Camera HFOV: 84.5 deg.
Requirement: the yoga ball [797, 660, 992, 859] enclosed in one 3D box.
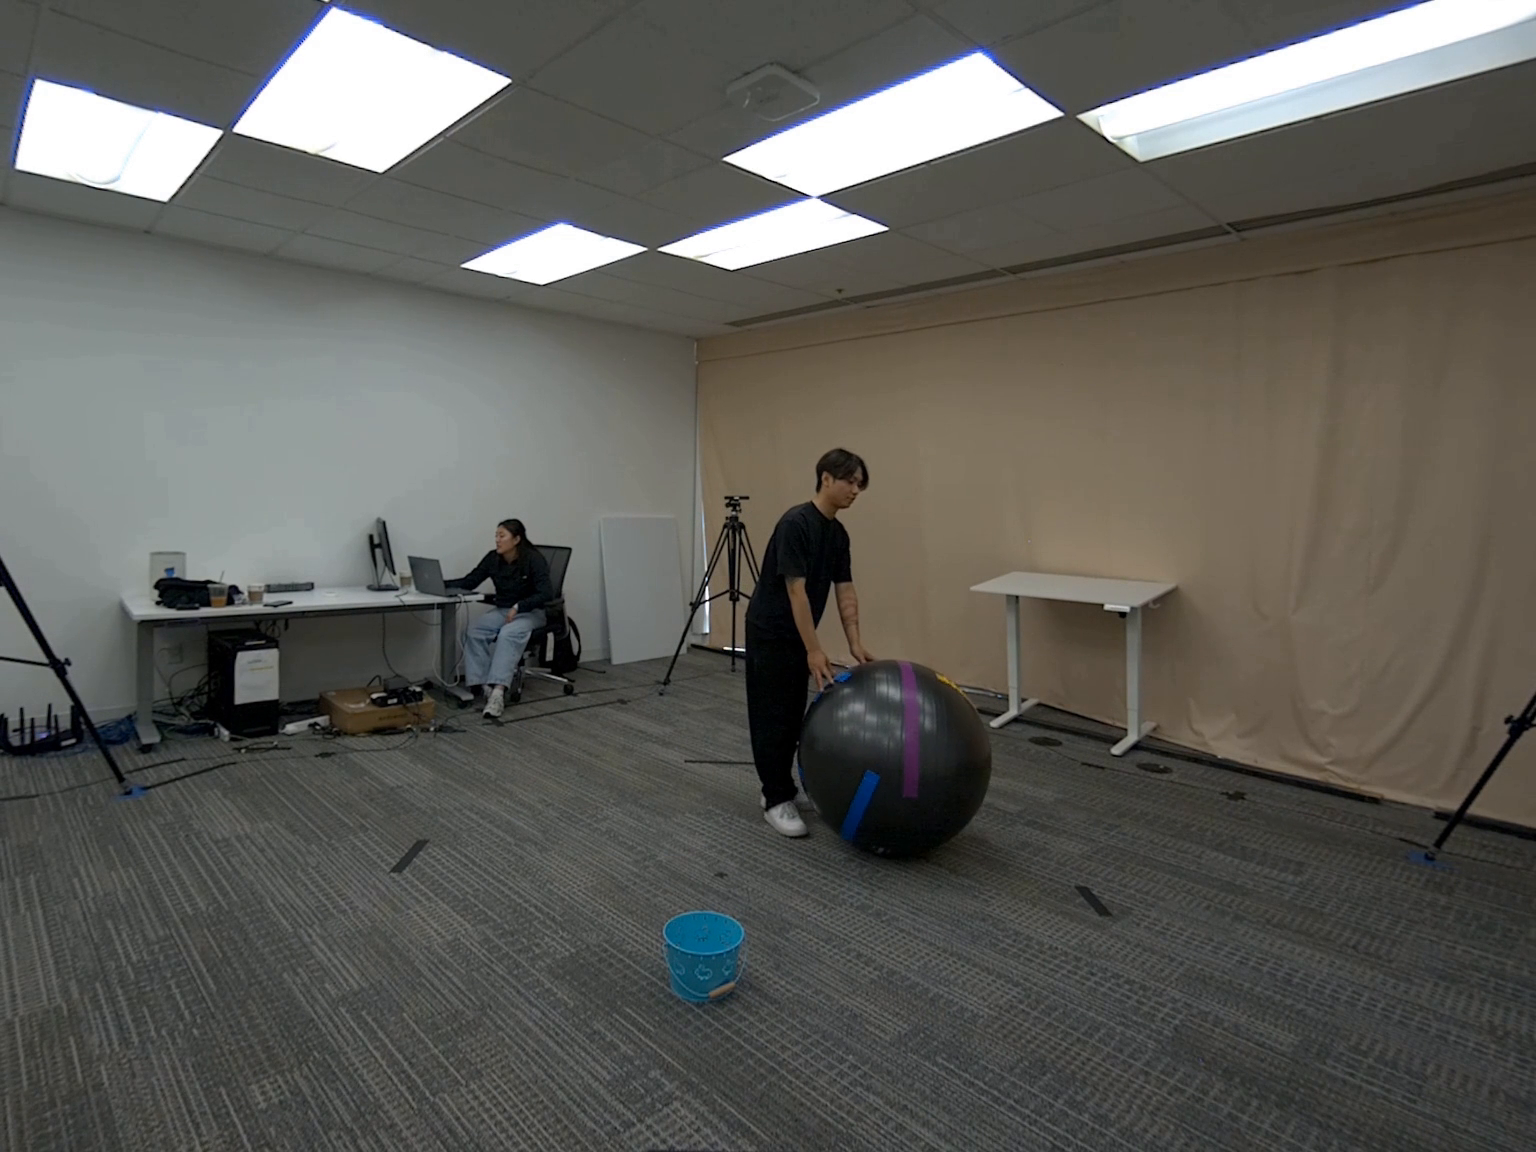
[{"bbox_3d":[0.502,0.730,3.380,0.757,0.756,0.761,1,4,-1],"label":"yoga ball"}]
